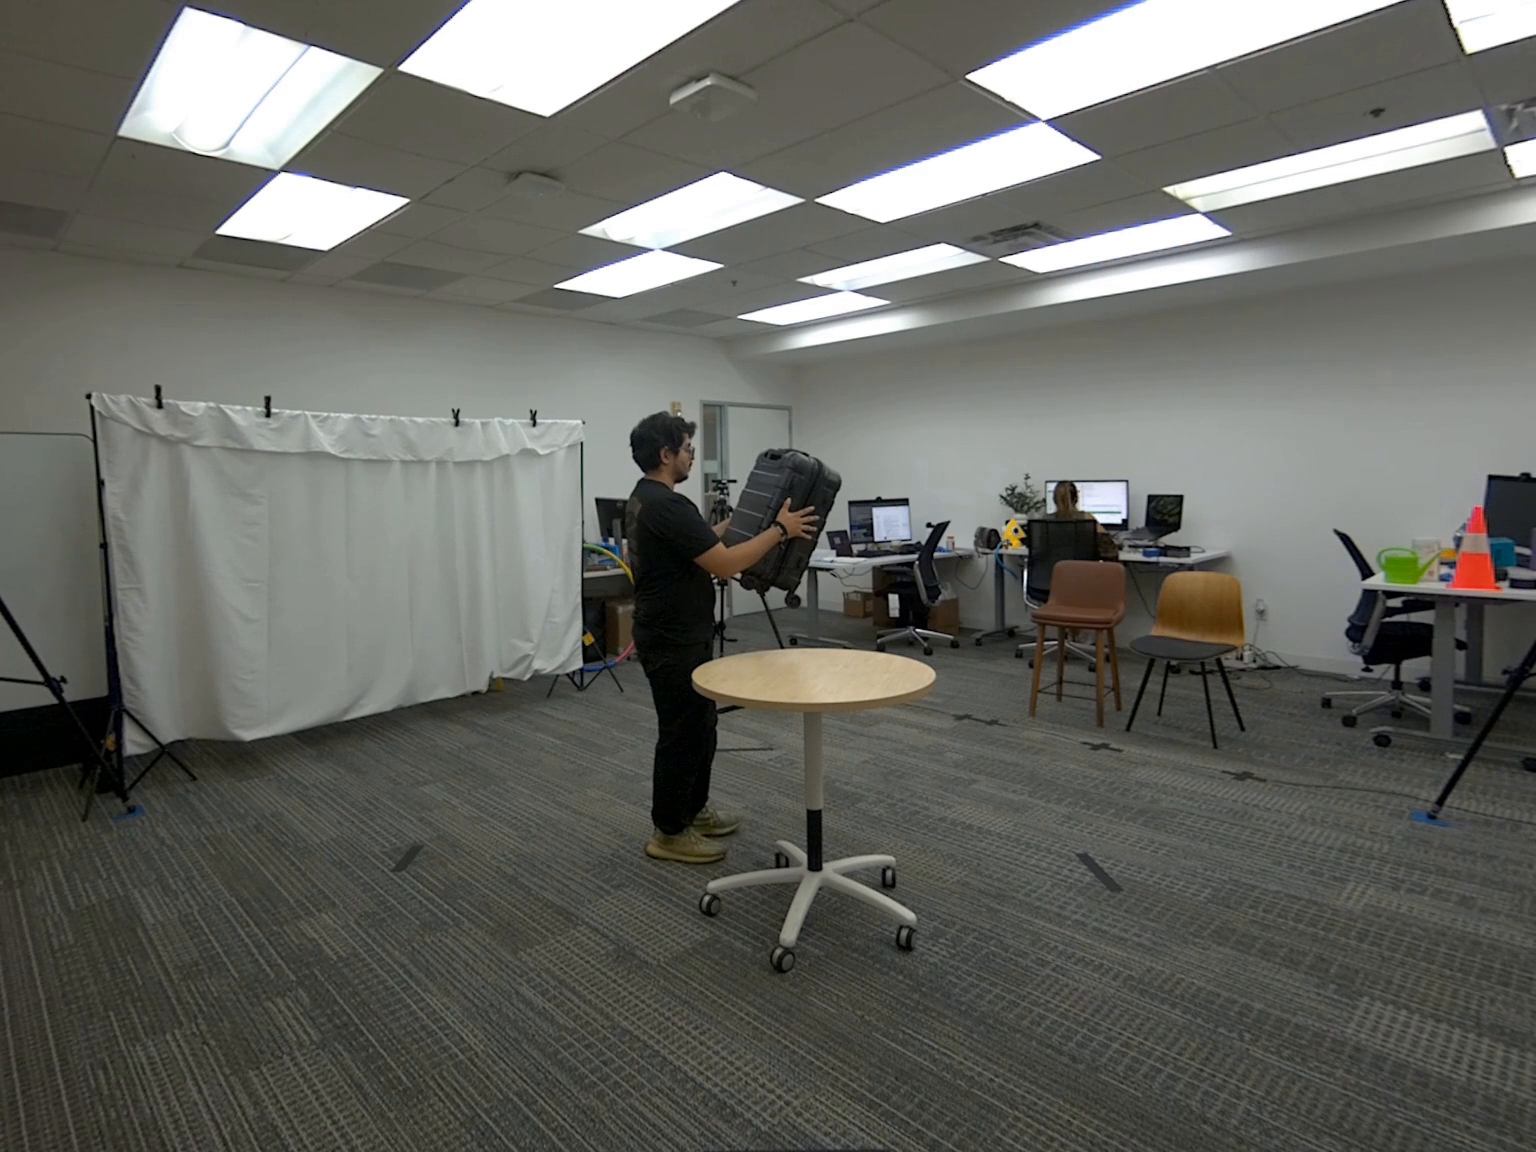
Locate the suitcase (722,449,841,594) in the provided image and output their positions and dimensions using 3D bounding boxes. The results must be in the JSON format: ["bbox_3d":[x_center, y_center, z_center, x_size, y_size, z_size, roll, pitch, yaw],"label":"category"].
[{"bbox_3d":[0.037,-0.207,3.262,0.242,0.549,0.385,23,-1,-24],"label":"suitcase"}]
